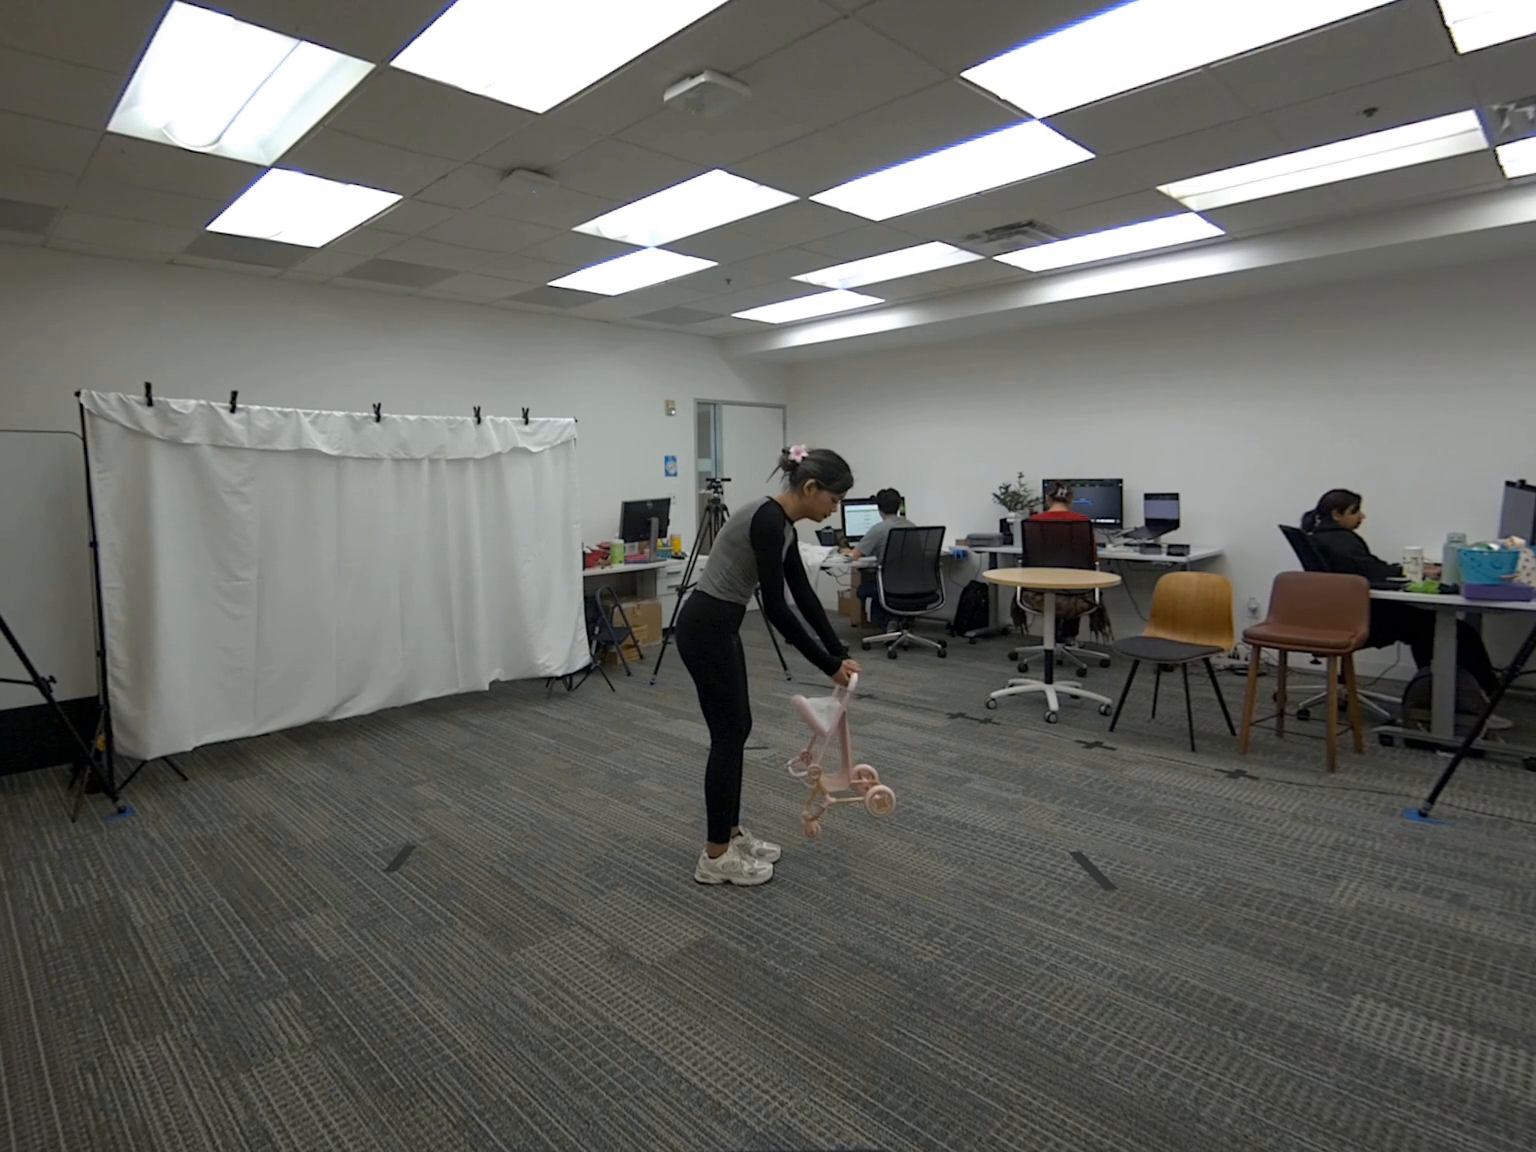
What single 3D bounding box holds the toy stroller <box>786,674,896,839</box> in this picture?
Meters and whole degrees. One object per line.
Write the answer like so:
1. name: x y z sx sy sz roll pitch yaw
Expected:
1. toy stroller: 0.213 0.626 2.966 0.341 0.533 0.282 -15 3 0
